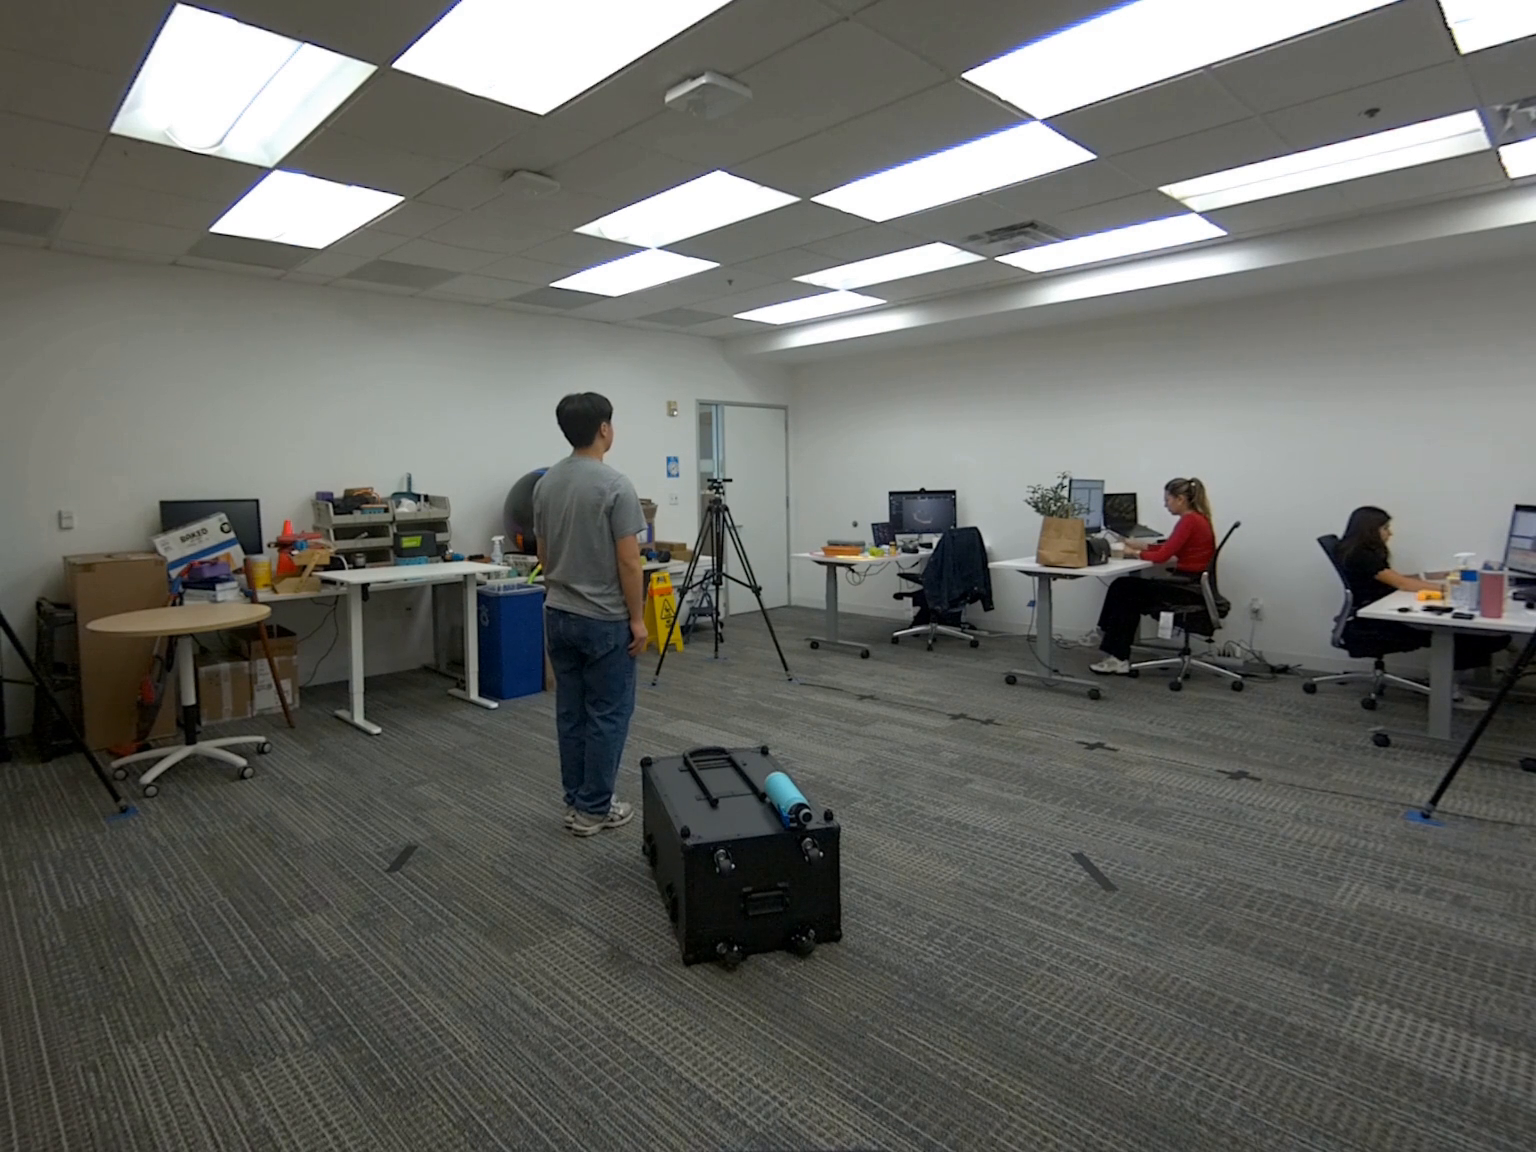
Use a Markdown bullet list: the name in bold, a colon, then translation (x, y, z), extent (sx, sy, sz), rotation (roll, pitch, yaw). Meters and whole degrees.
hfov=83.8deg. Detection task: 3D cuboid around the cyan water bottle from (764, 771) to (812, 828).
- **cyan water bottle**: translation (0.065, 0.693, 2.632), extent (0.091, 0.092, 0.288), rotation (-2, 7, -13)
